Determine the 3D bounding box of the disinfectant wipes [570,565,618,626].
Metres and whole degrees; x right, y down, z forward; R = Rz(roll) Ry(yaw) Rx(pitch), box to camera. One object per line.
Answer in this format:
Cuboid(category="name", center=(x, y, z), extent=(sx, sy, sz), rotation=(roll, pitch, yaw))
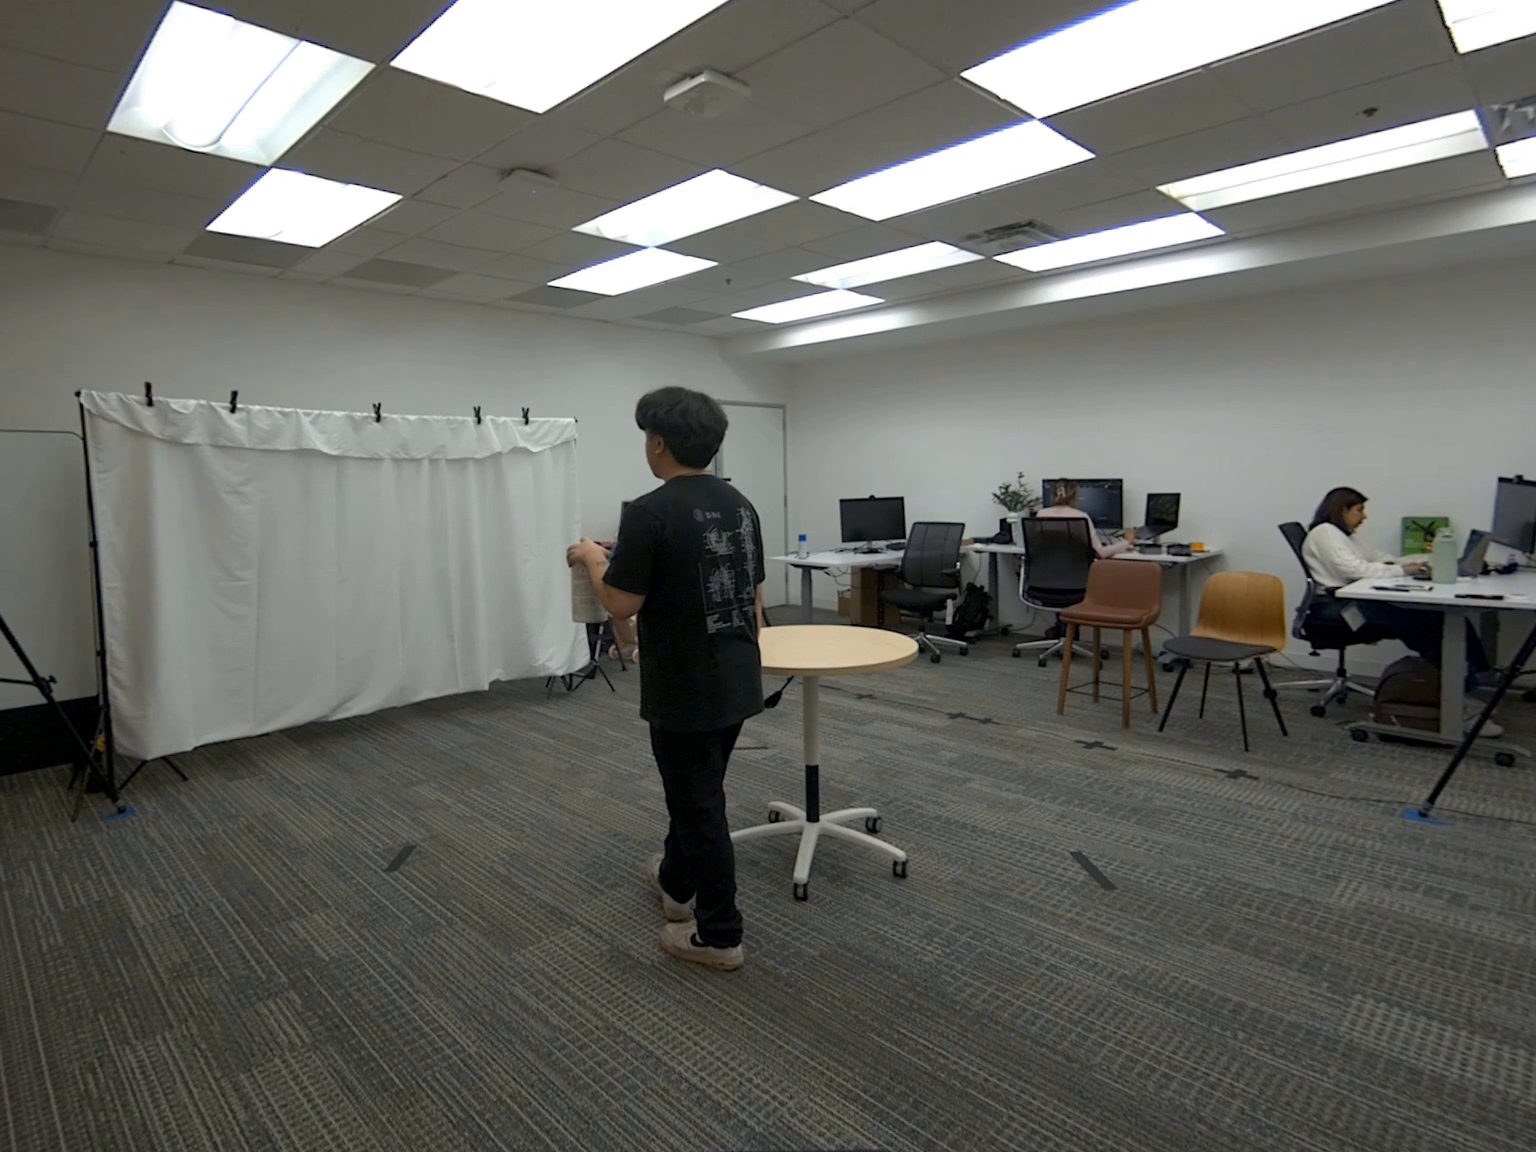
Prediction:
Cuboid(category="disinfectant wipes", center=(-0.529, 0.031, 2.605), extent=(0.118, 0.217, 0.118), rotation=(-2, 1, -2))
